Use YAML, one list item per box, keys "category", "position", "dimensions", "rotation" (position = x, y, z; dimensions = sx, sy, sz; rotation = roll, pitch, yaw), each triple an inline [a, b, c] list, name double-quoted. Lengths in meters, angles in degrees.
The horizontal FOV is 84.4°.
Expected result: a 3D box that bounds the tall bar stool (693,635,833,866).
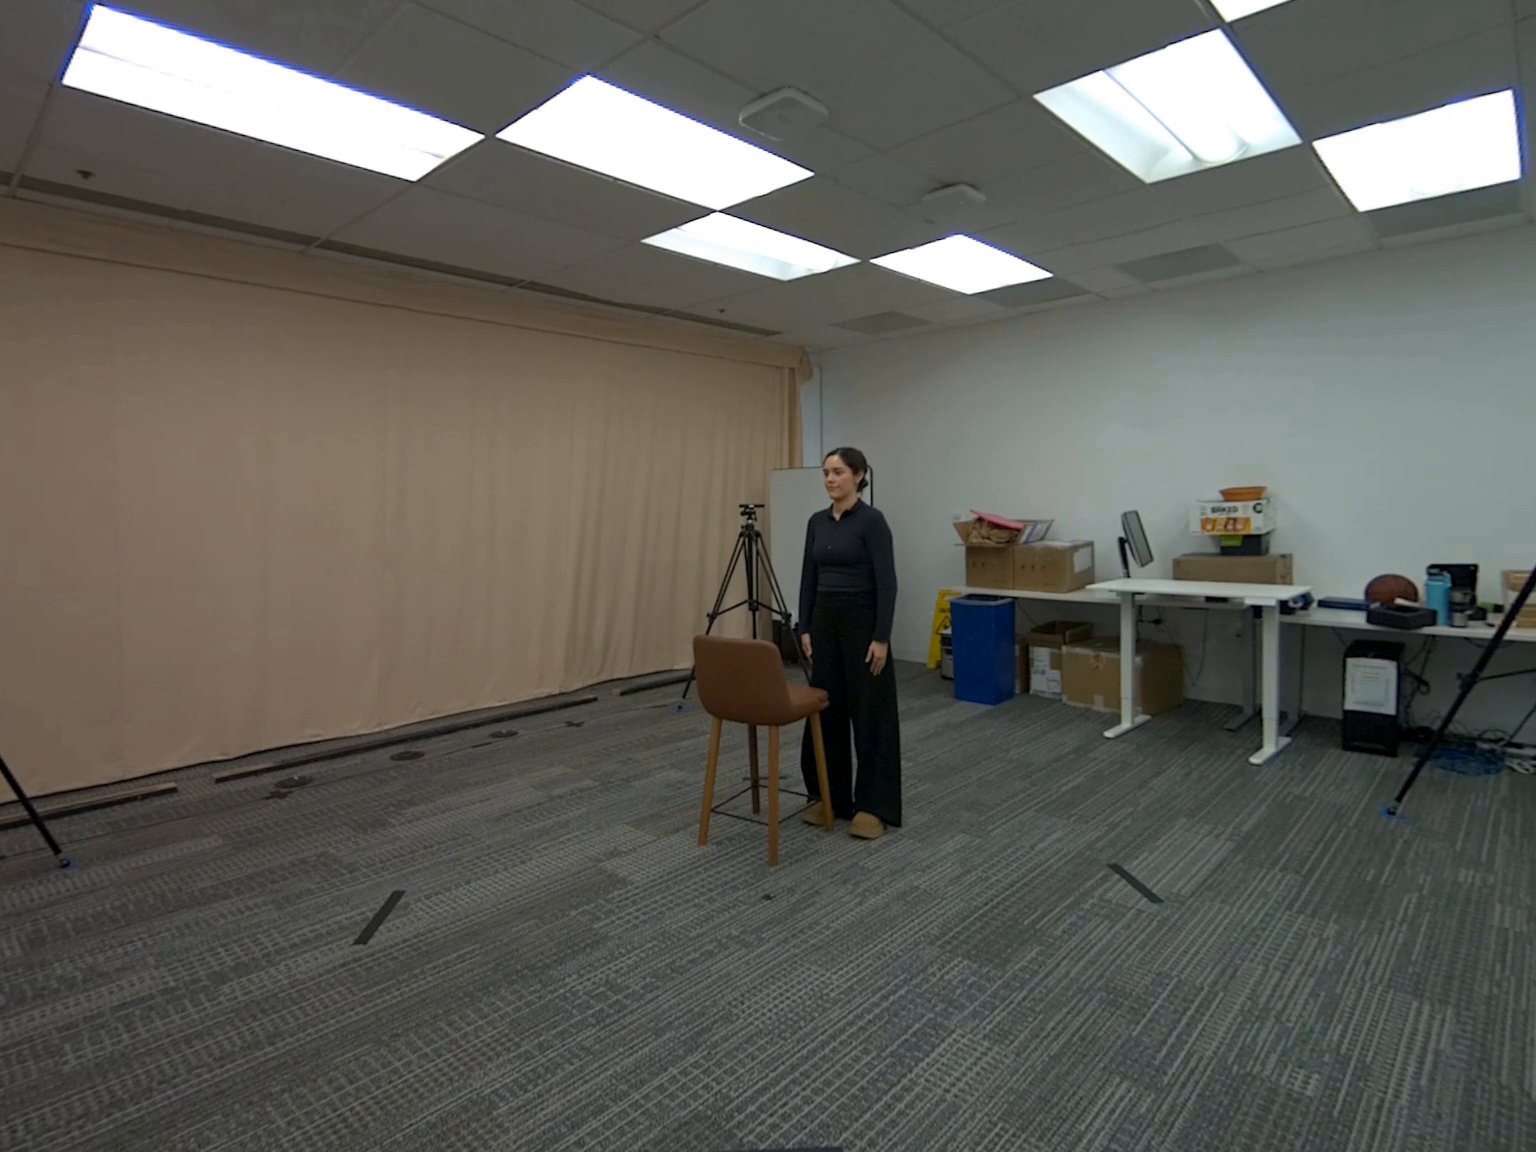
- category: "tall bar stool"
  position: [-0.022, 0.661, 3.504]
  dimensions: [0.471, 0.887, 0.454]
  rotation: [1, 5, 35]
